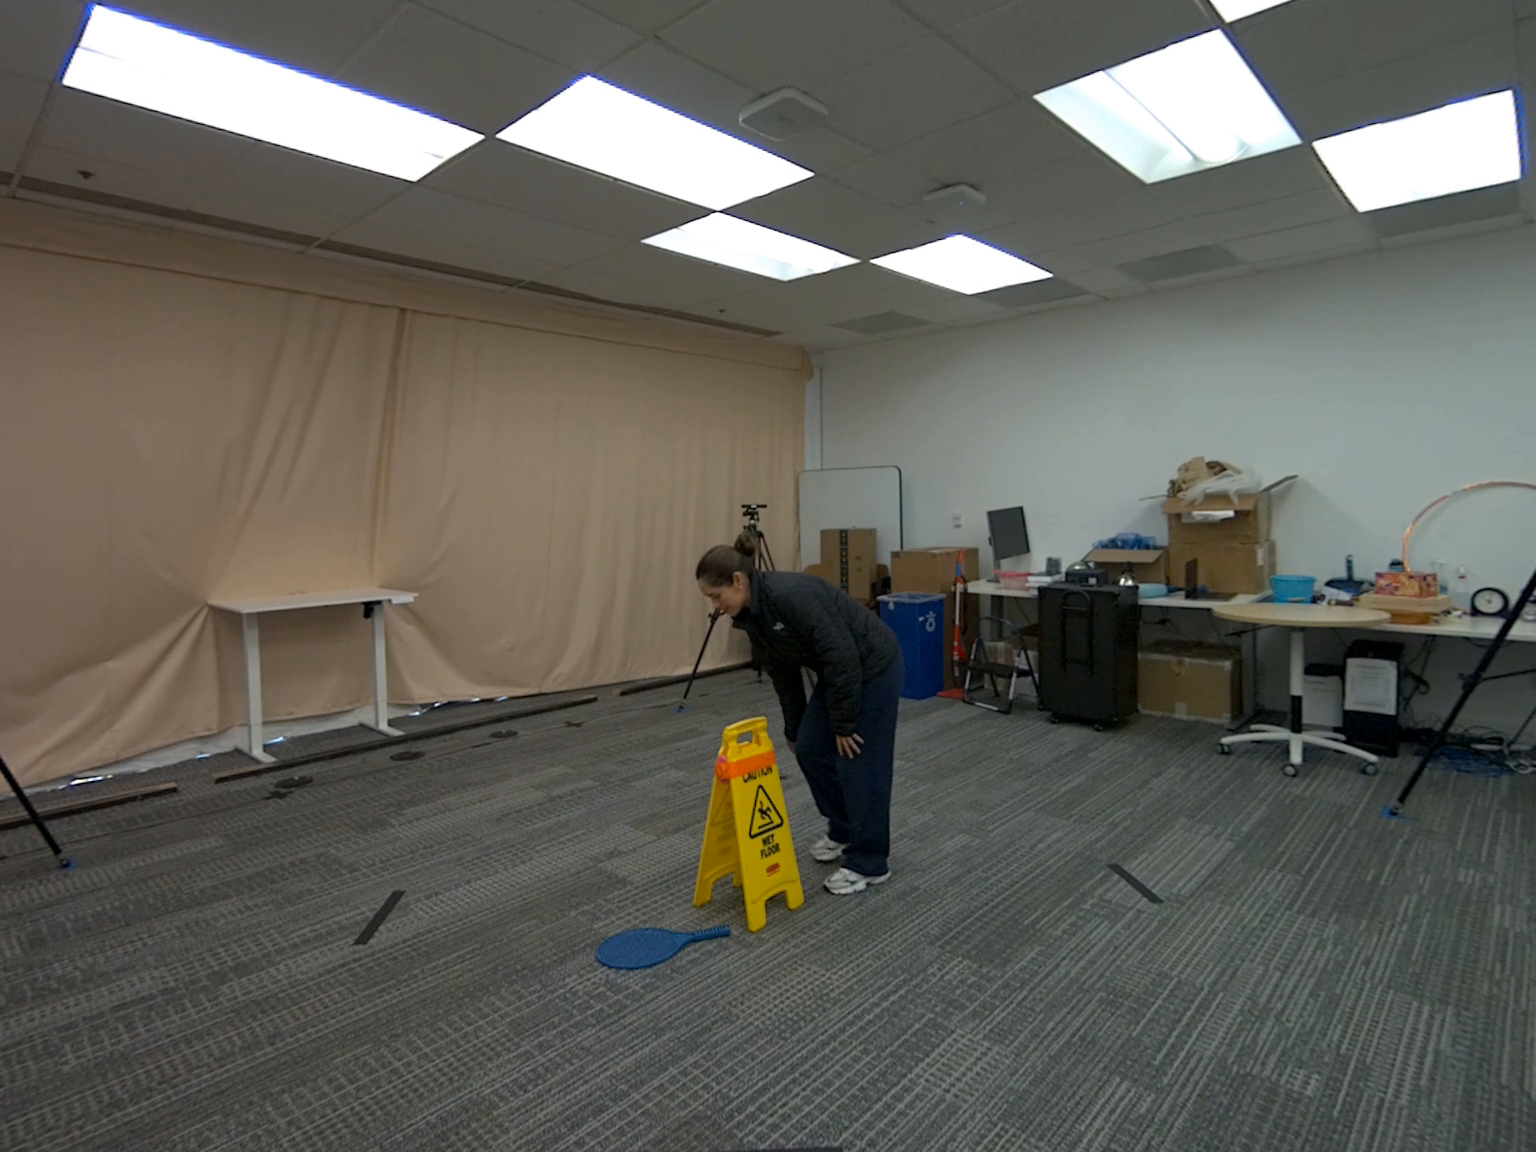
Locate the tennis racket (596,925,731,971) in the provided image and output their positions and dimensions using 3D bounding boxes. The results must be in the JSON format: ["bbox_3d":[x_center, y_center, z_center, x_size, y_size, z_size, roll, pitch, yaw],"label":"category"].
[{"bbox_3d":[-0.309,1.153,2.668,0.426,0.031,0.218,-4,7,-17],"label":"tennis racket"}]
